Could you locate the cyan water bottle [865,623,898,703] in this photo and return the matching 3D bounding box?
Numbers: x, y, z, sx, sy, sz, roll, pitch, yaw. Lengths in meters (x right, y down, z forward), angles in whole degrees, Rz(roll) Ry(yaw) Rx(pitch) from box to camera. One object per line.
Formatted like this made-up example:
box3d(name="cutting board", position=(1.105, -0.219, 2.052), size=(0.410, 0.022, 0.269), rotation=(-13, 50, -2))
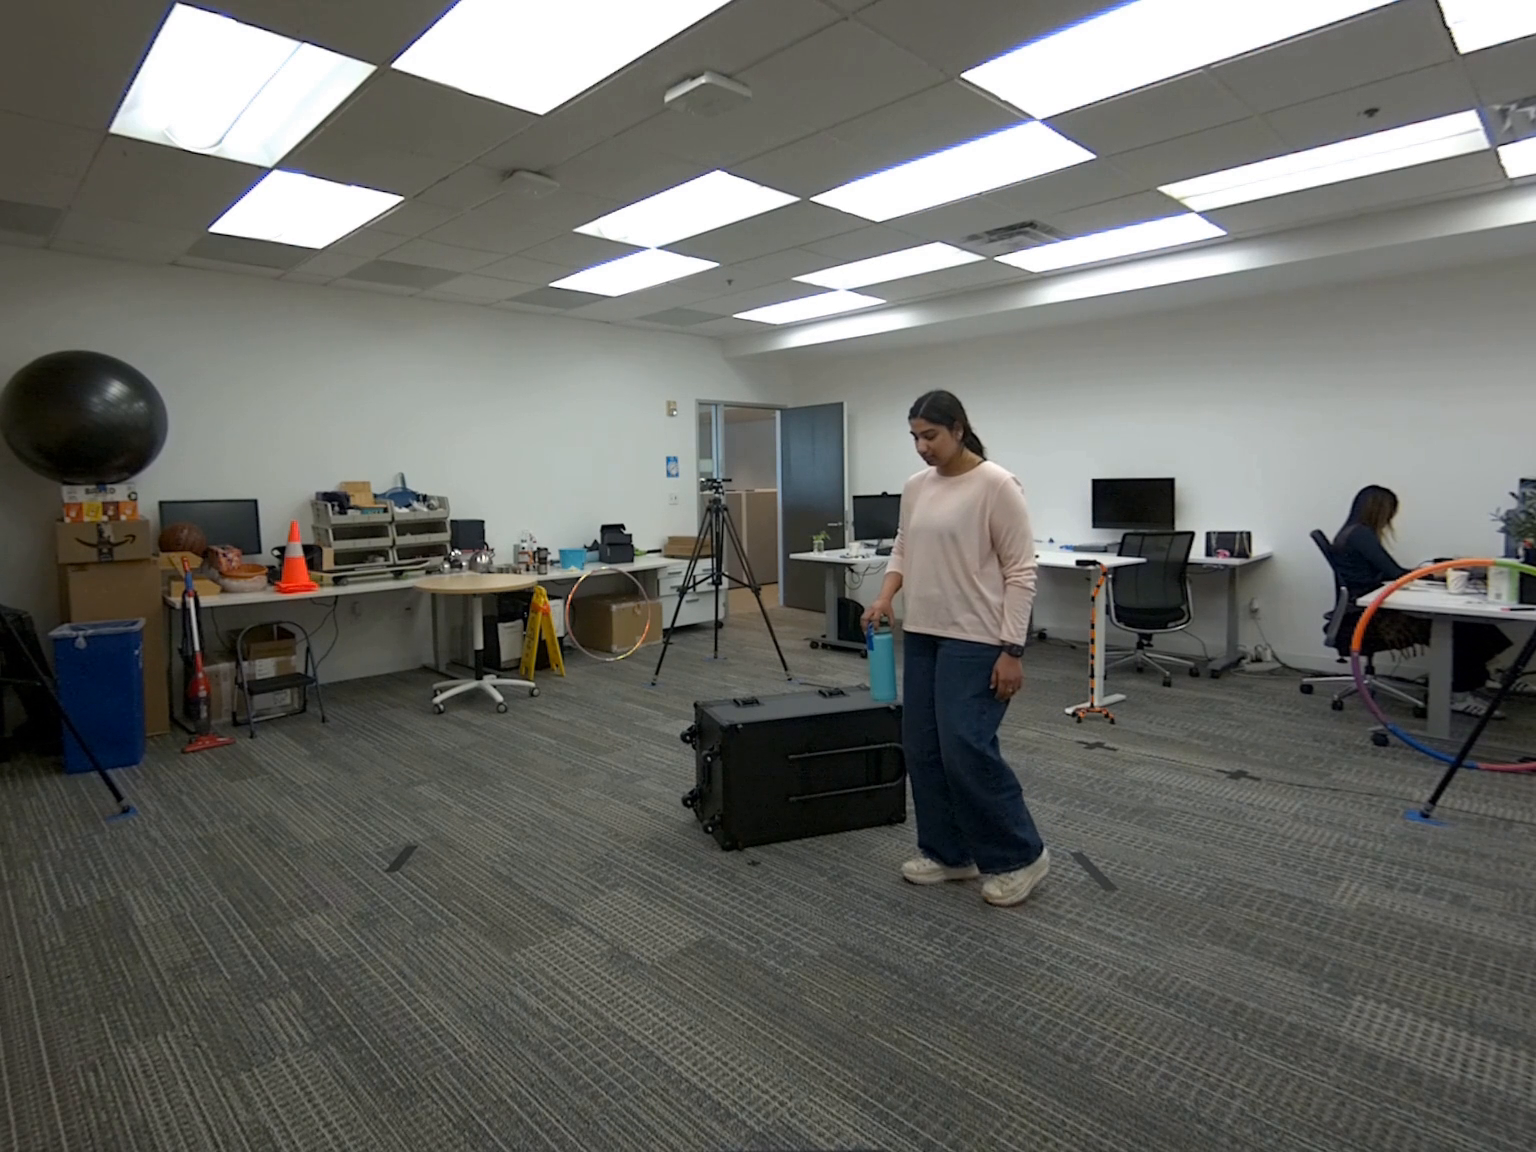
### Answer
box3d(name="cyan water bottle", position=(0.397, 0.281, 2.893), size=(0.092, 0.283, 0.092), rotation=(-6, 0, -2))
